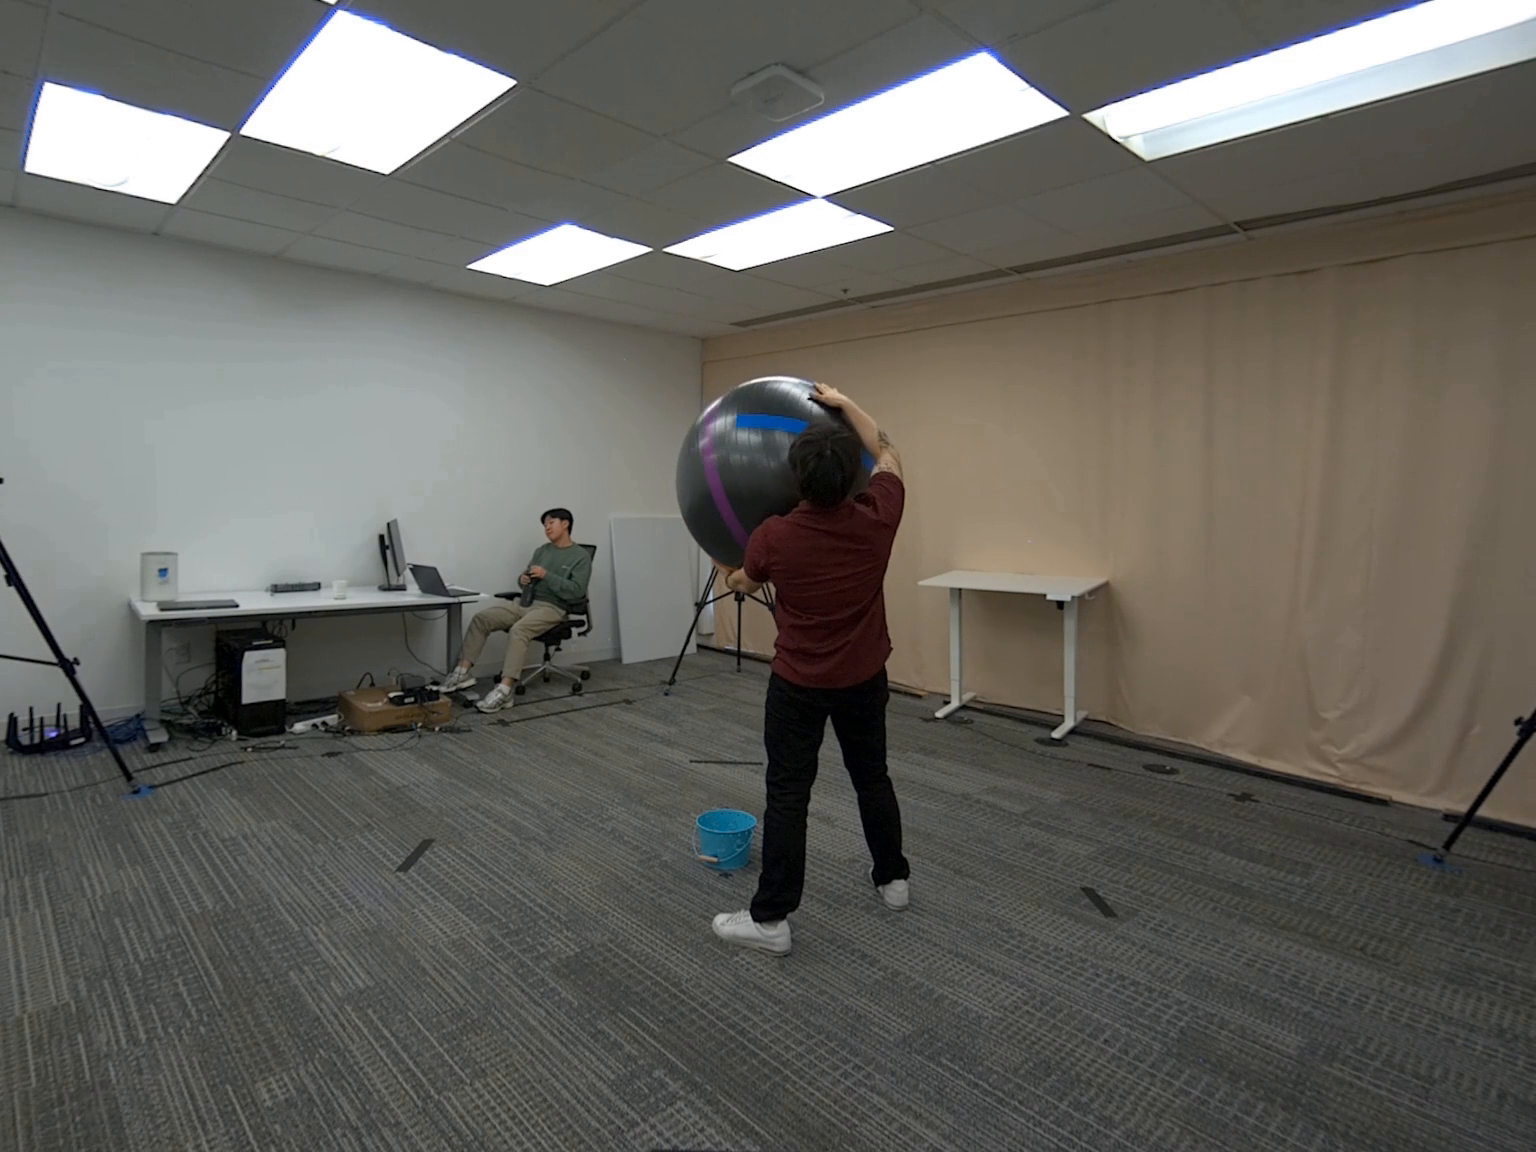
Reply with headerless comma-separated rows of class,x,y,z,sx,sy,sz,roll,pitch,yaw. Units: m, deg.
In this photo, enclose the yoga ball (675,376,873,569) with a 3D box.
yoga ball,0.044,-0.351,3.109,0.757,0.756,0.761,1,4,-1
